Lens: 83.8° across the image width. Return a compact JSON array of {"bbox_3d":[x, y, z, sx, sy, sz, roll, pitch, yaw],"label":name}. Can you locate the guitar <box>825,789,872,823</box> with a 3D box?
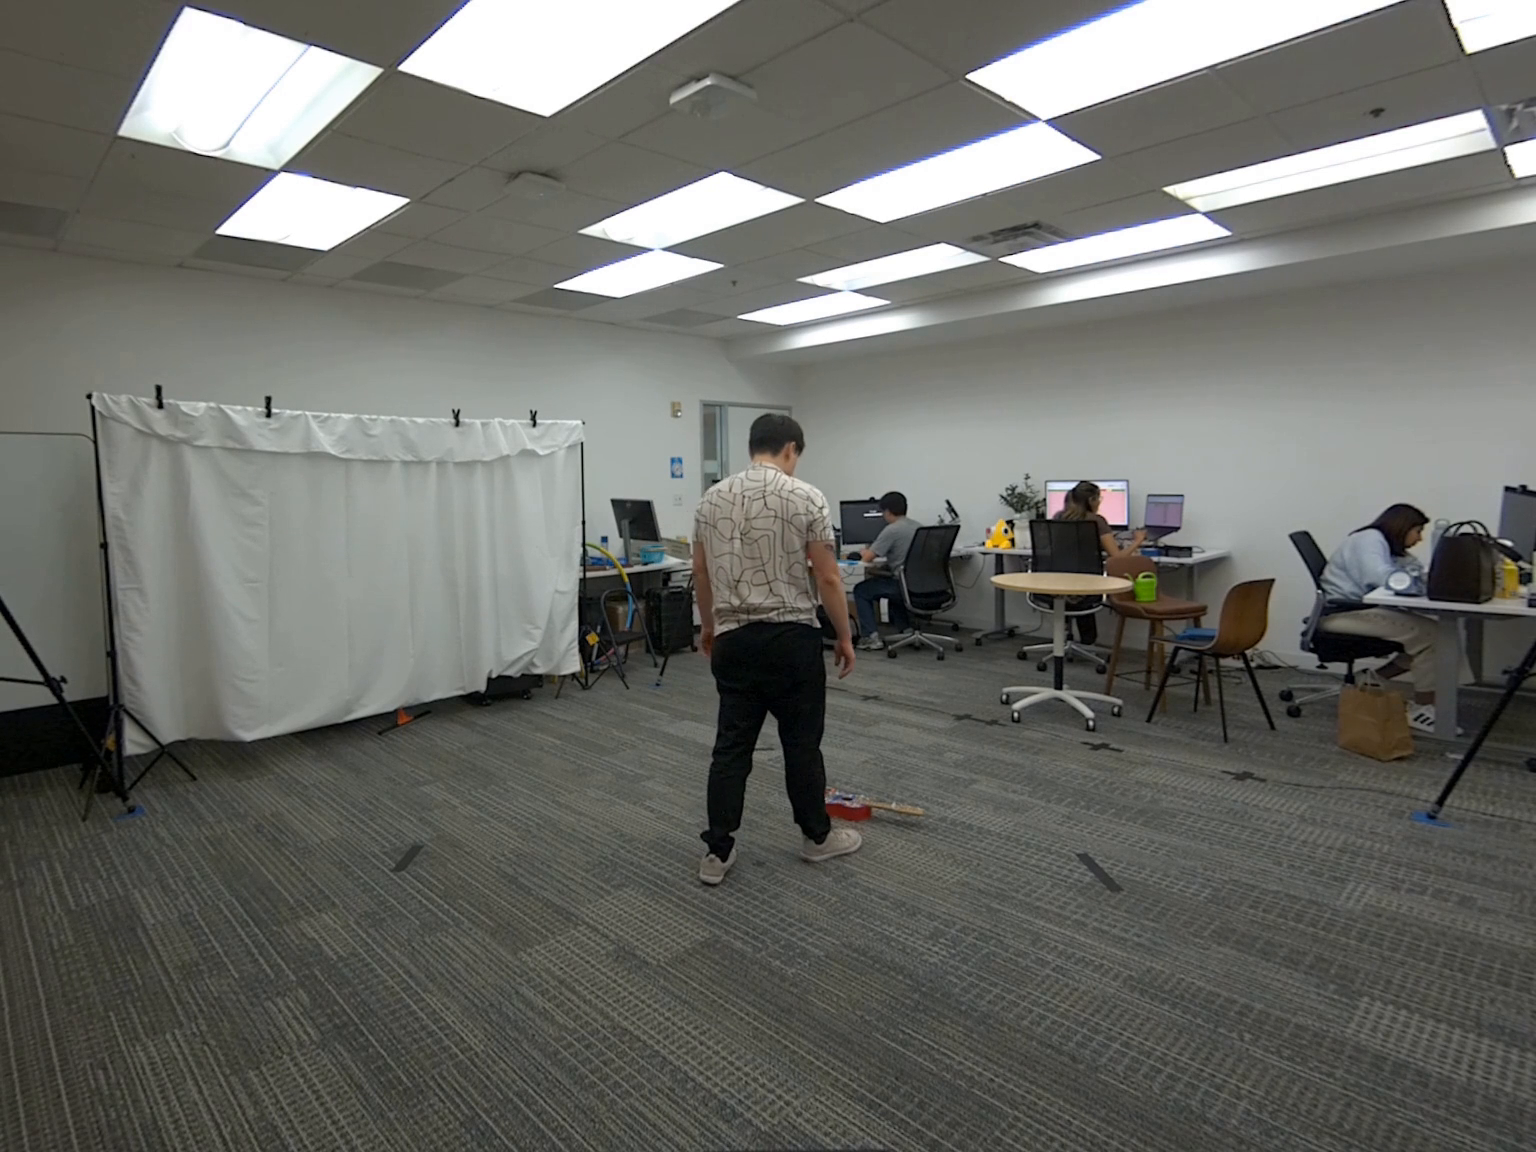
[{"bbox_3d":[0.389,0.962,3.508,0.512,0.070,0.188,3,7,35],"label":"guitar"}]
